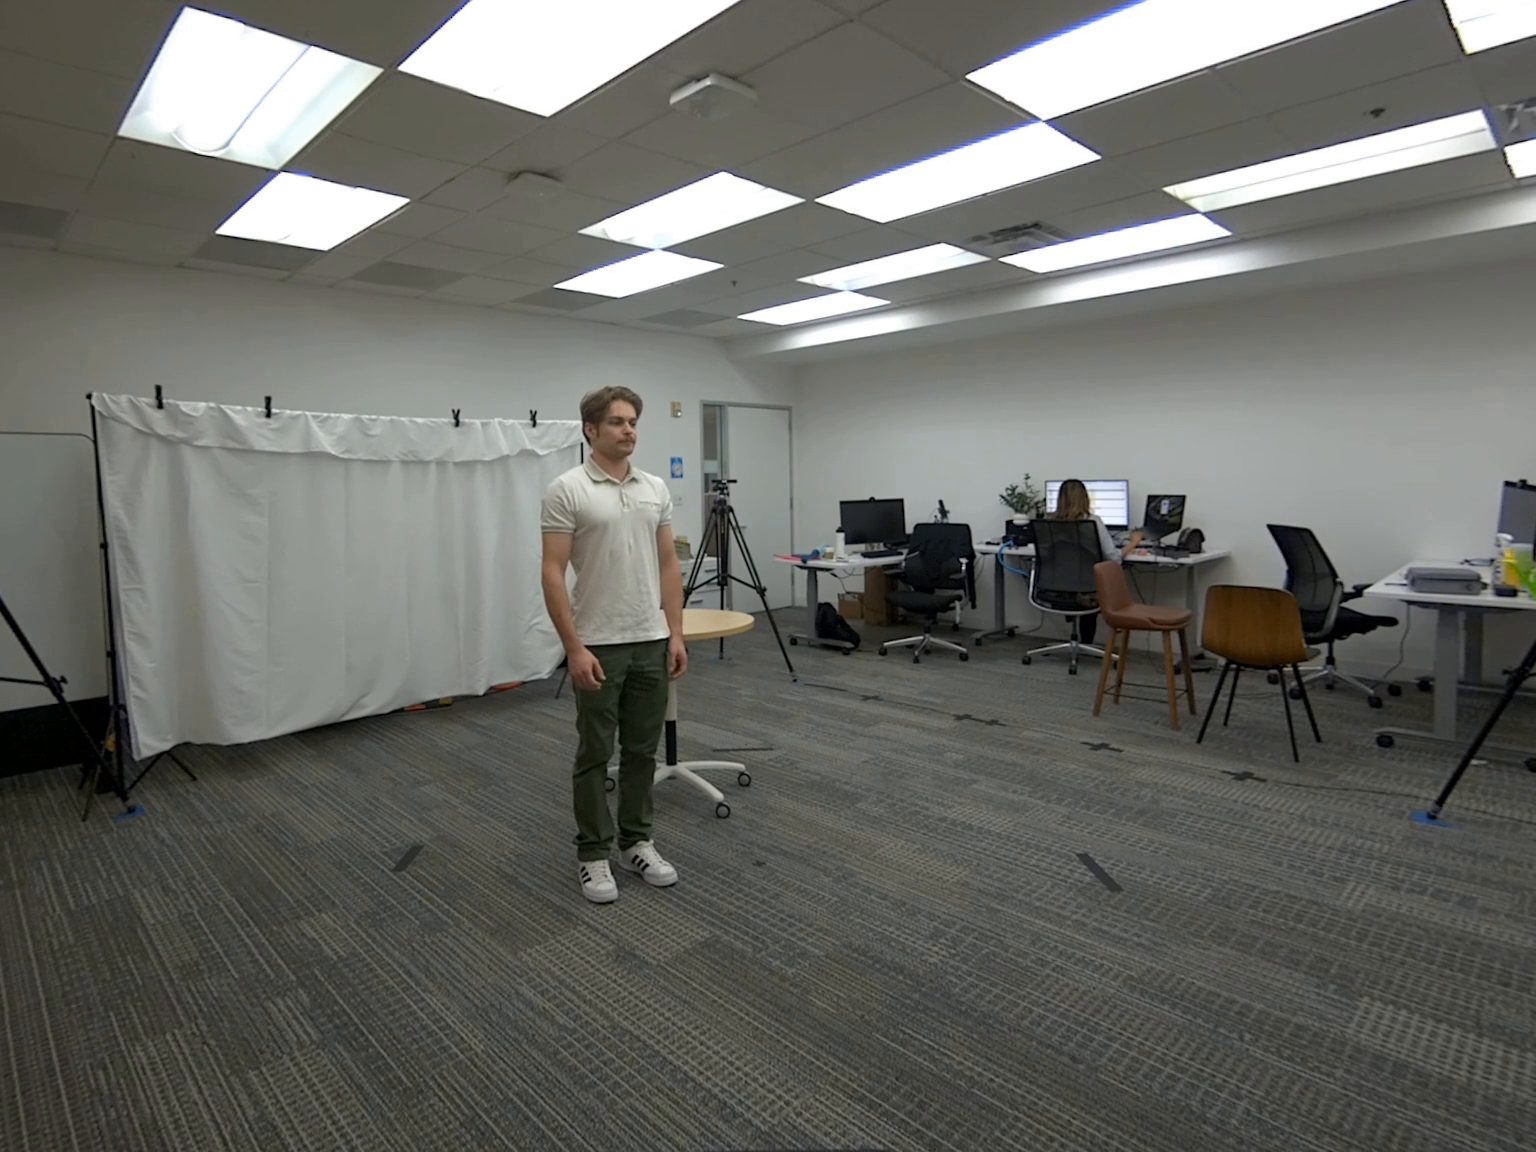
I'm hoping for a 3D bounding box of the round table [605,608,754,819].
[{"bbox_3d":[-0.439,0.587,3.779,0.784,0.784,0.788,-2,4,-2],"label":"round table"}]
